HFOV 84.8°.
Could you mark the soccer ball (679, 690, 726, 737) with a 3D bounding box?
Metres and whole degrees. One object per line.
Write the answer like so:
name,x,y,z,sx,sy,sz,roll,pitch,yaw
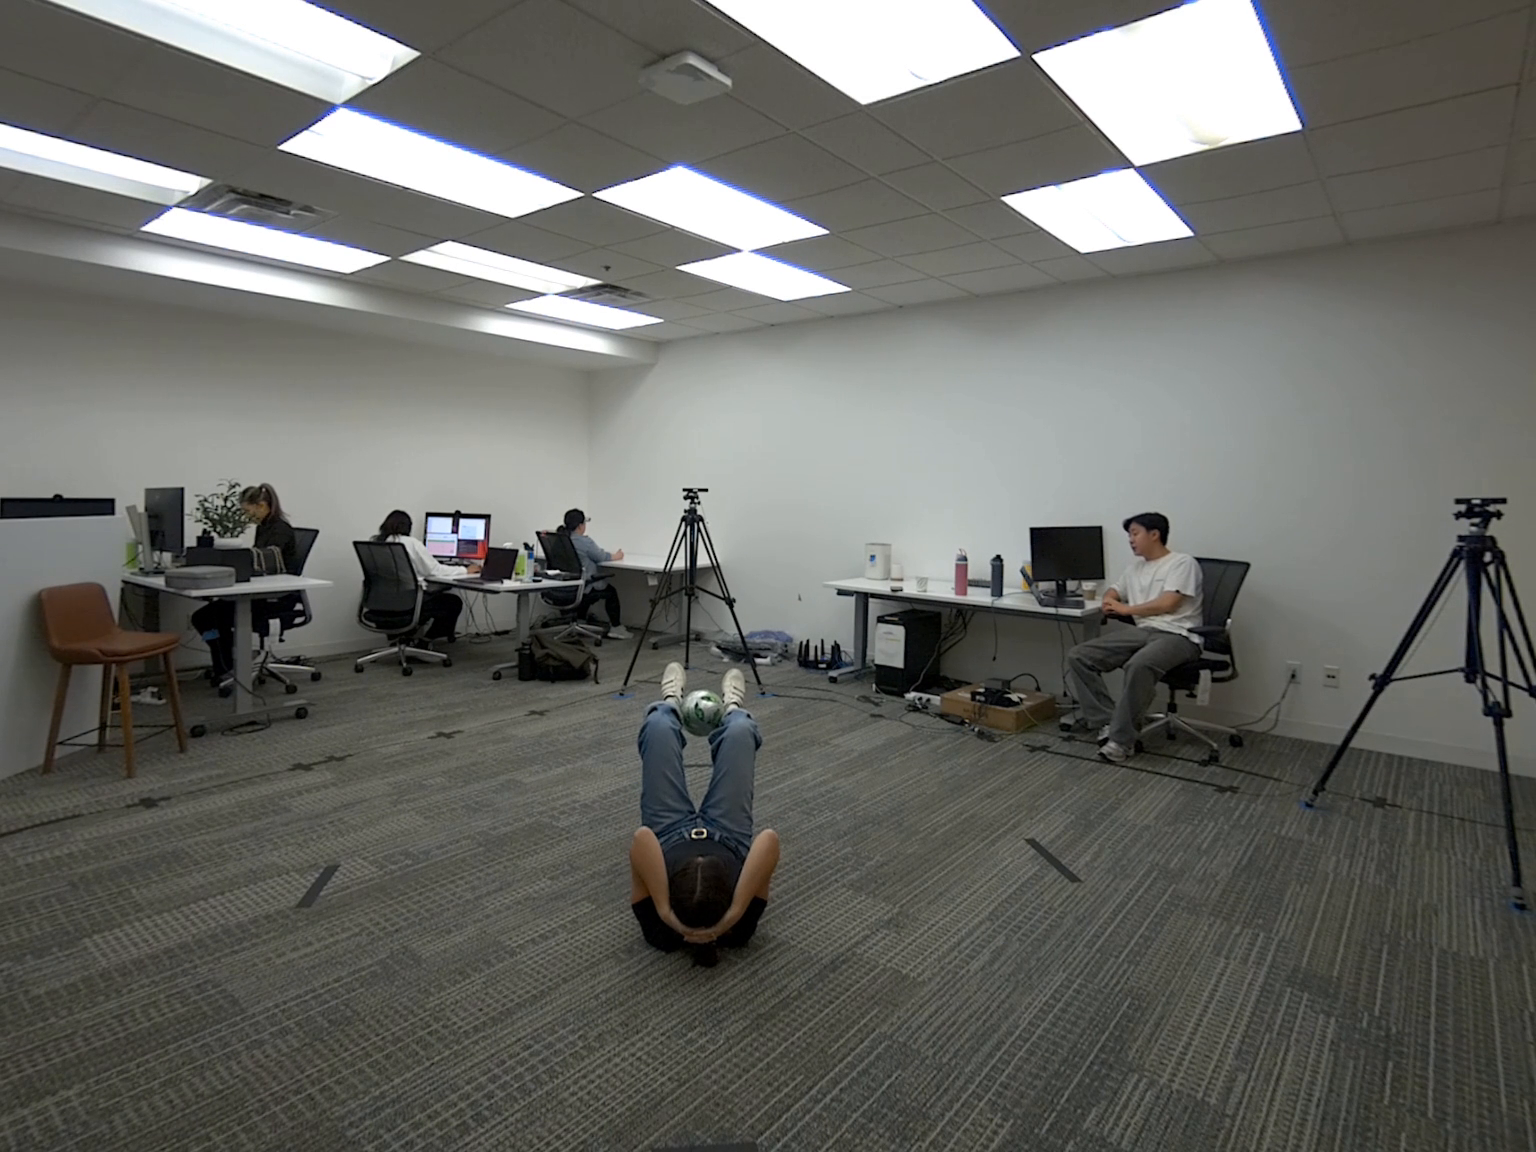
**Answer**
soccer ball,-0.271,0.546,3.438,0.187,0.187,0.188,-3,4,-2
